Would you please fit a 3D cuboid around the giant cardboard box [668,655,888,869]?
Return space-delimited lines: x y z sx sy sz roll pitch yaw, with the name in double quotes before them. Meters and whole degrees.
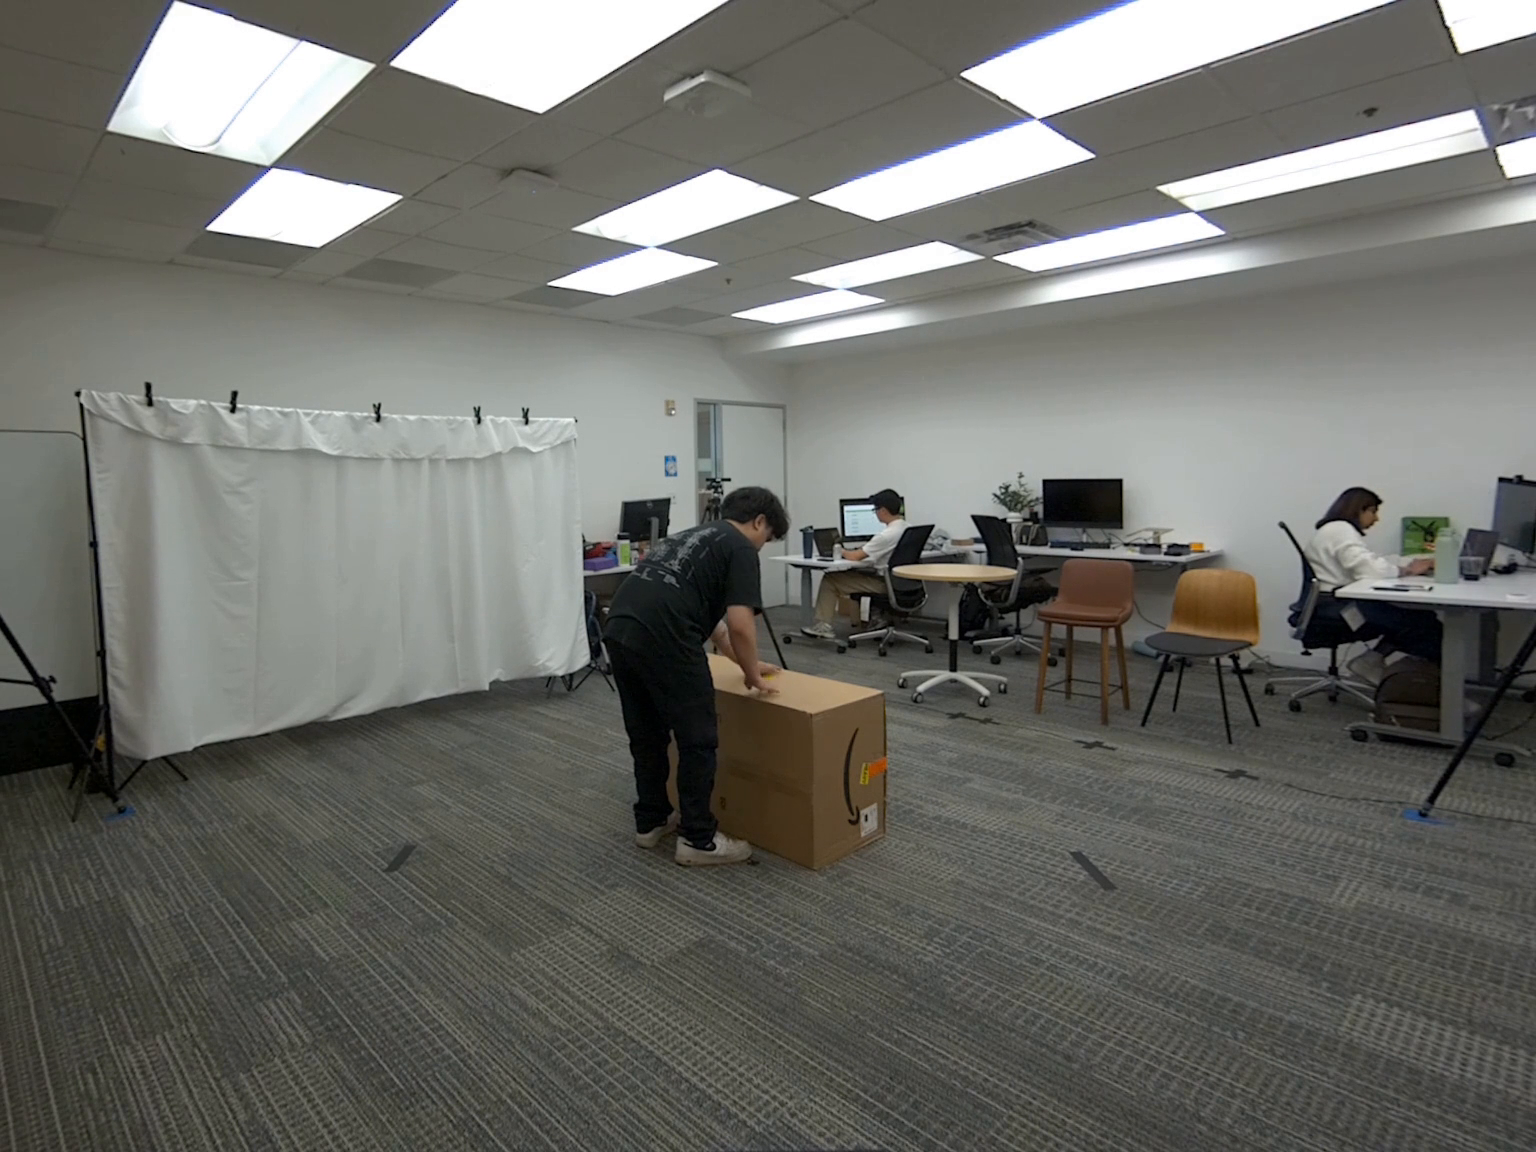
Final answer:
"giant cardboard box" -0.055 0.709 3.530 0.435 0.582 1.059 -4 7 -44
